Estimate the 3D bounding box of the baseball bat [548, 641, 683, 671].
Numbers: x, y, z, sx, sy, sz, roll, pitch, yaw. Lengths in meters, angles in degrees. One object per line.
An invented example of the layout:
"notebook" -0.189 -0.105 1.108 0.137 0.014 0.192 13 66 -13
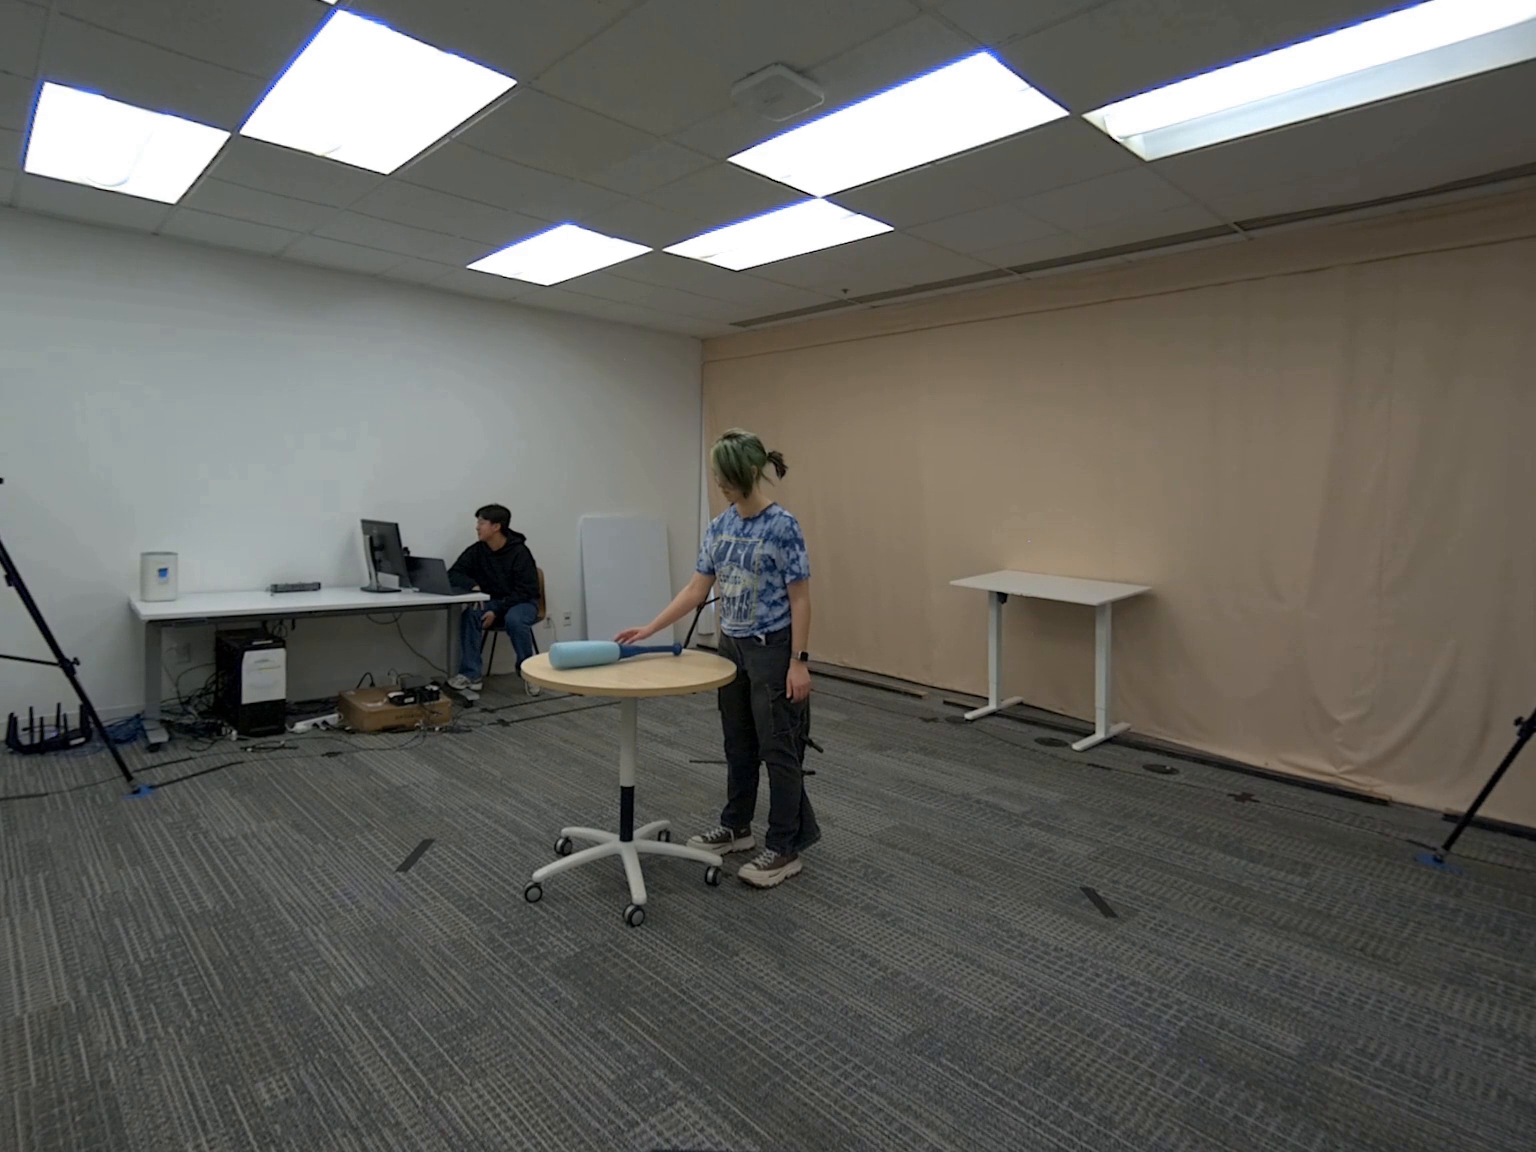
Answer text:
"baseball bat" -0.552 0.279 3.056 0.530 0.089 0.091 1 4 -41
